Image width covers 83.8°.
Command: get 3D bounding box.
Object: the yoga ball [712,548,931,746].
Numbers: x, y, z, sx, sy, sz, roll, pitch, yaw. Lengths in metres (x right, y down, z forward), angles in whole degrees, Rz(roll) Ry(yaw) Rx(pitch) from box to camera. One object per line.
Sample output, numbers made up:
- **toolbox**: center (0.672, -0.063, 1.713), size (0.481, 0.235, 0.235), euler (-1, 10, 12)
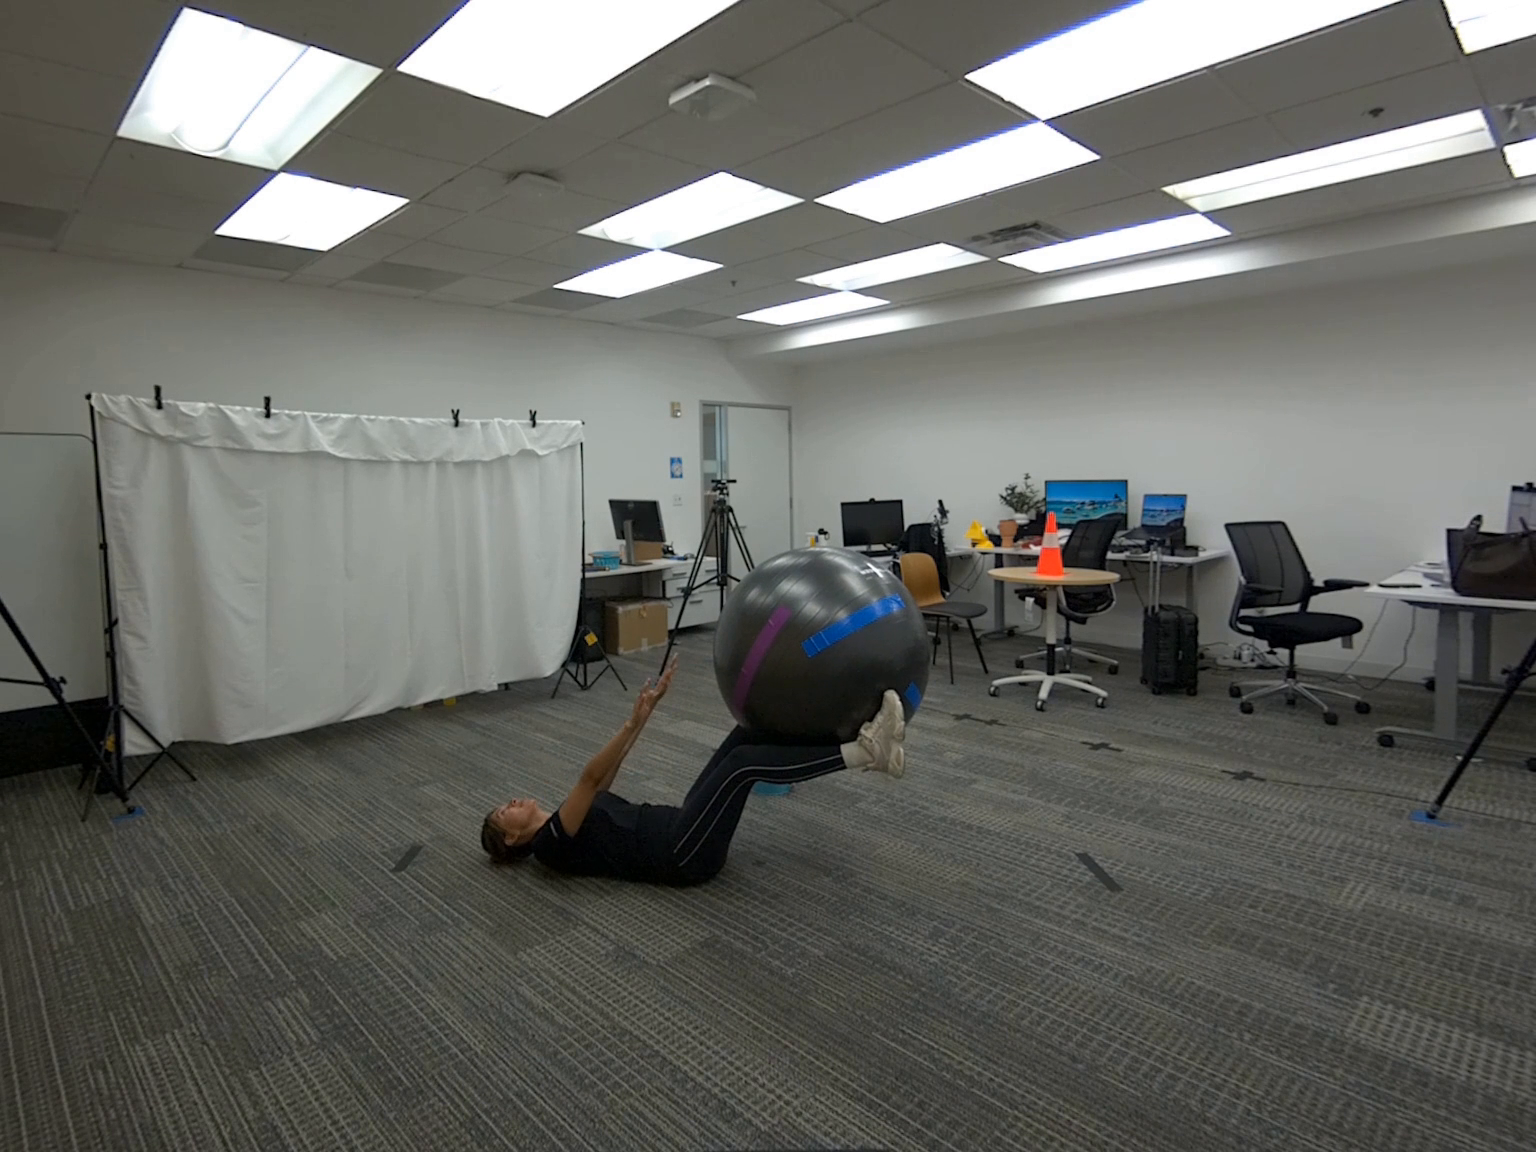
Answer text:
- **yoga ball**: center (0.183, 0.277, 3.006), size (0.757, 0.755, 0.762), euler (-1, 5, -2)
